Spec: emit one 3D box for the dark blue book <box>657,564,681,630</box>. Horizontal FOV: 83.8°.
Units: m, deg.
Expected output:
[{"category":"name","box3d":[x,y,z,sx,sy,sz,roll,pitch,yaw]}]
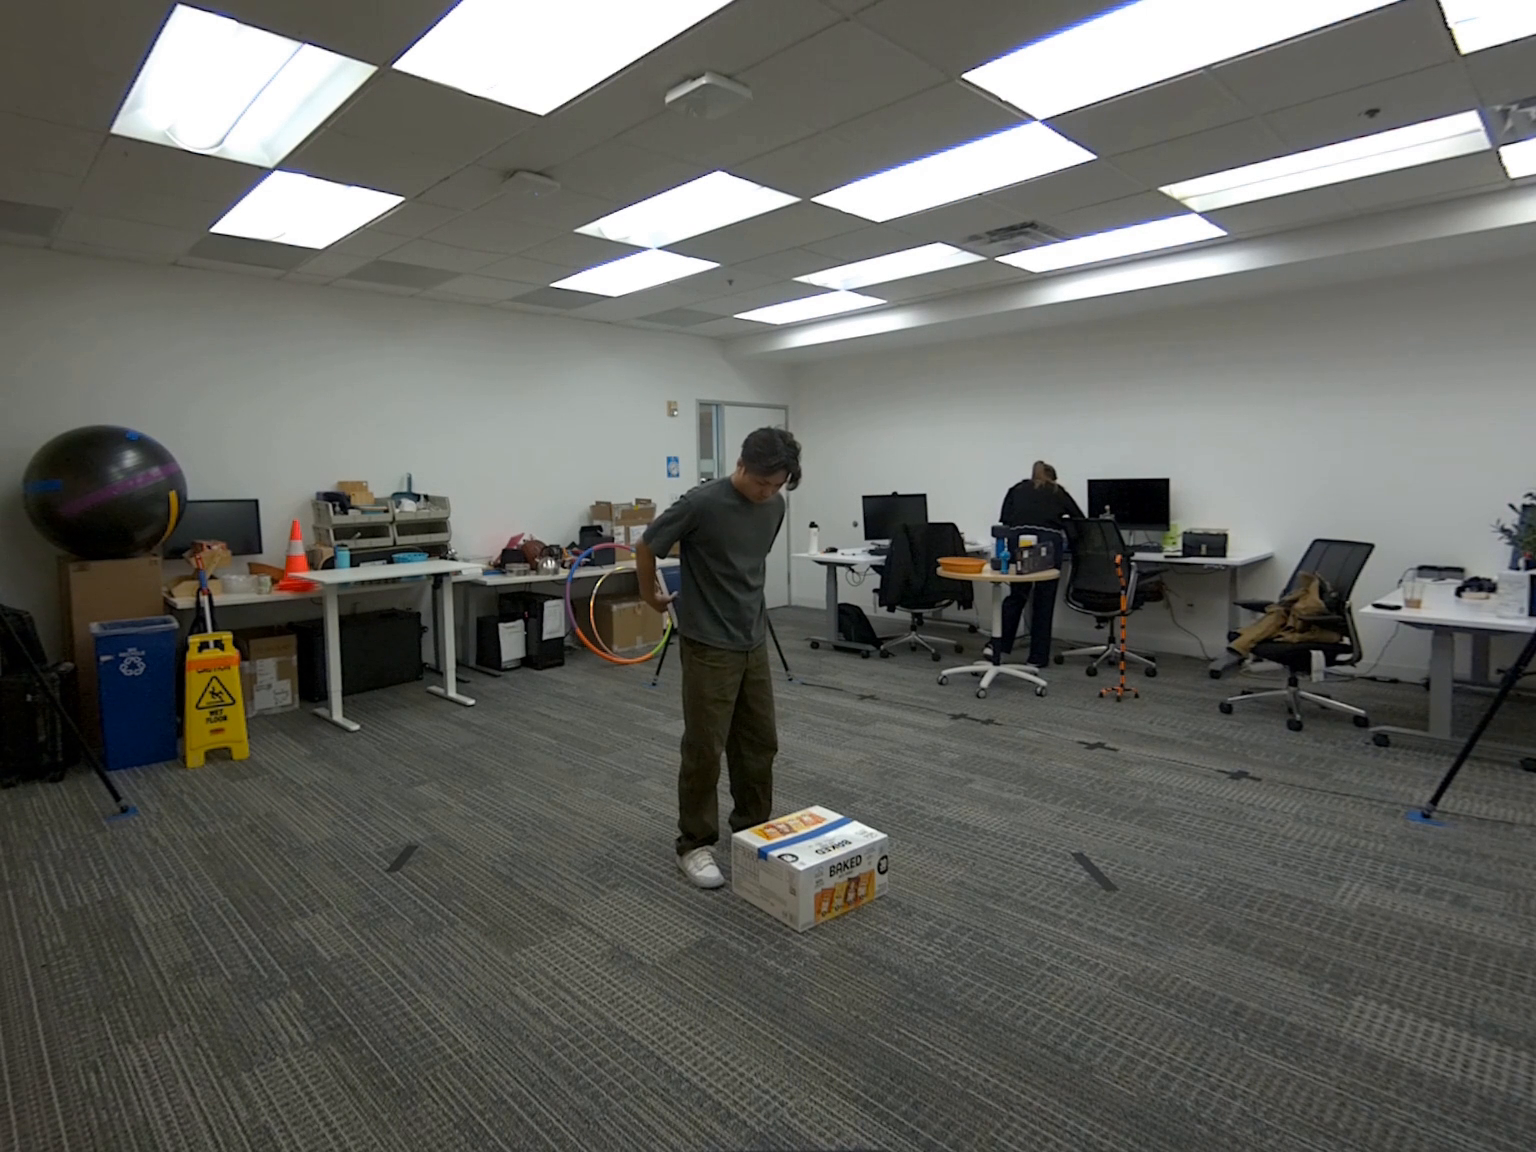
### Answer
[{"category":"dark blue book","box3d":[-0.322,0.075,3.324,0.159,0.250,0.045,-4,-24,-42]}]
